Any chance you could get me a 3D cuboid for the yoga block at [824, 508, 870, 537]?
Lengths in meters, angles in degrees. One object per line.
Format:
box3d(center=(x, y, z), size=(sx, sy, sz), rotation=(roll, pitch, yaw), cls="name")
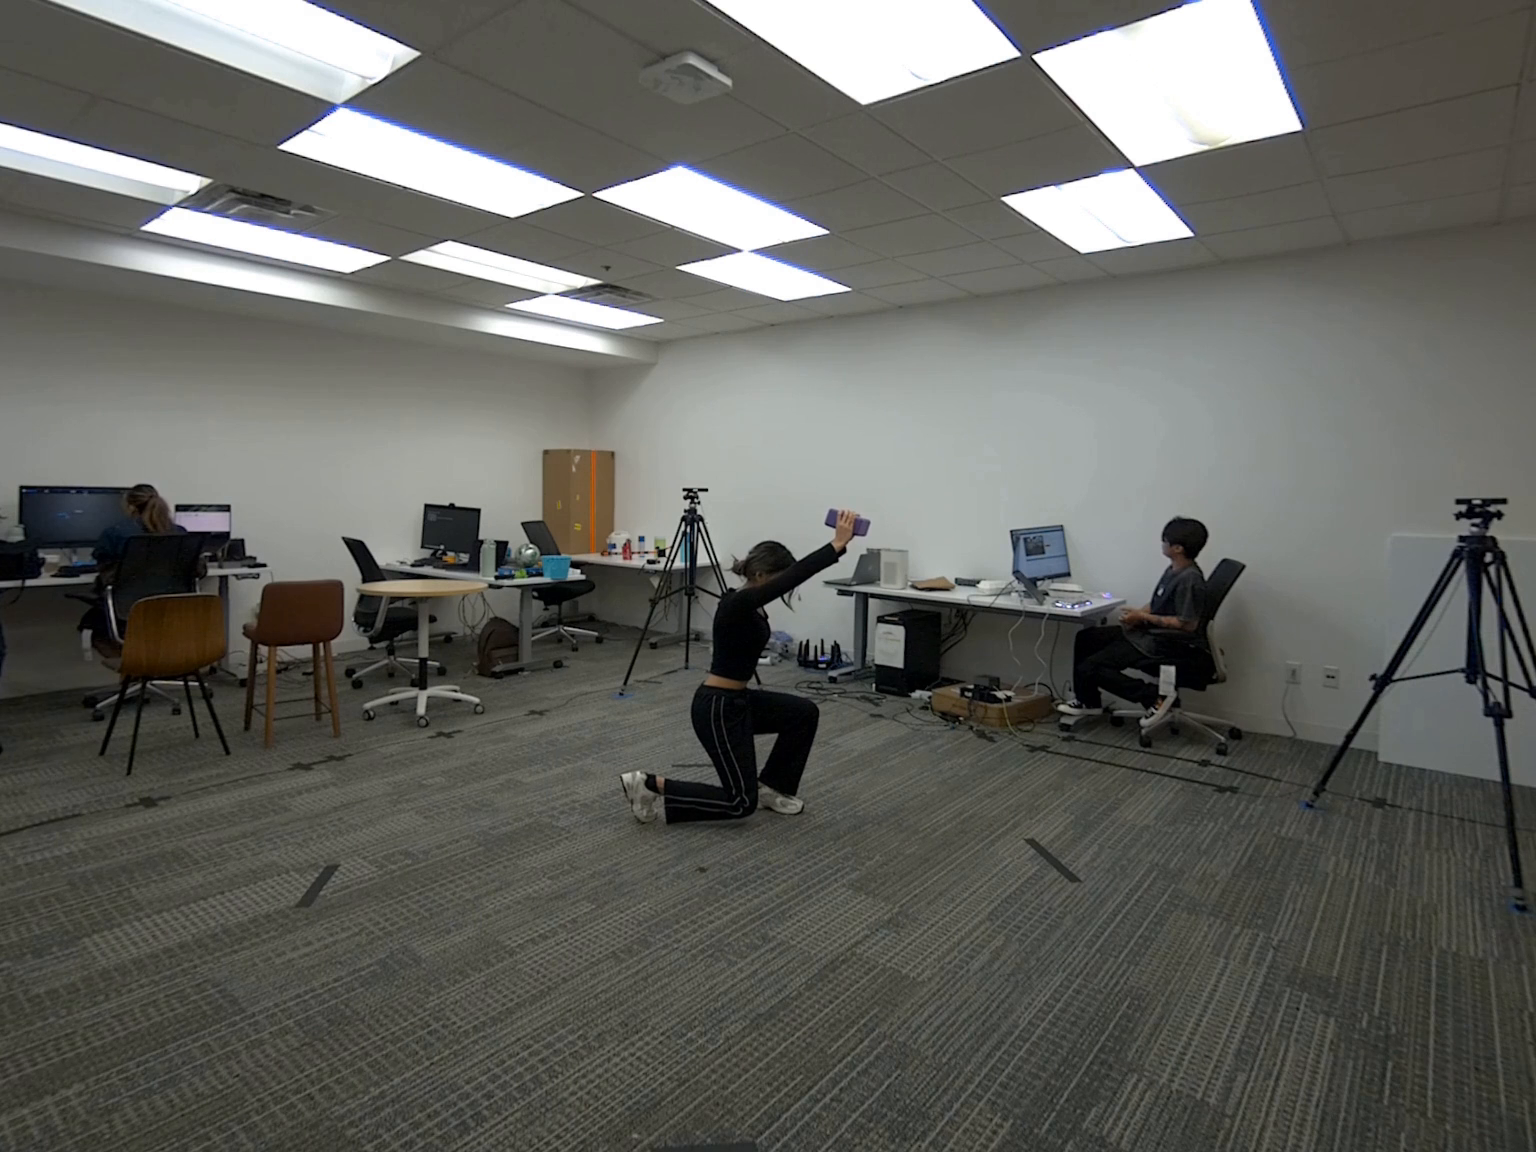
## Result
box3d(center=(0.327, -0.231, 3.578), size=(0.152, 0.076, 0.225), rotation=(20, 5, 14), cls="yoga block")
